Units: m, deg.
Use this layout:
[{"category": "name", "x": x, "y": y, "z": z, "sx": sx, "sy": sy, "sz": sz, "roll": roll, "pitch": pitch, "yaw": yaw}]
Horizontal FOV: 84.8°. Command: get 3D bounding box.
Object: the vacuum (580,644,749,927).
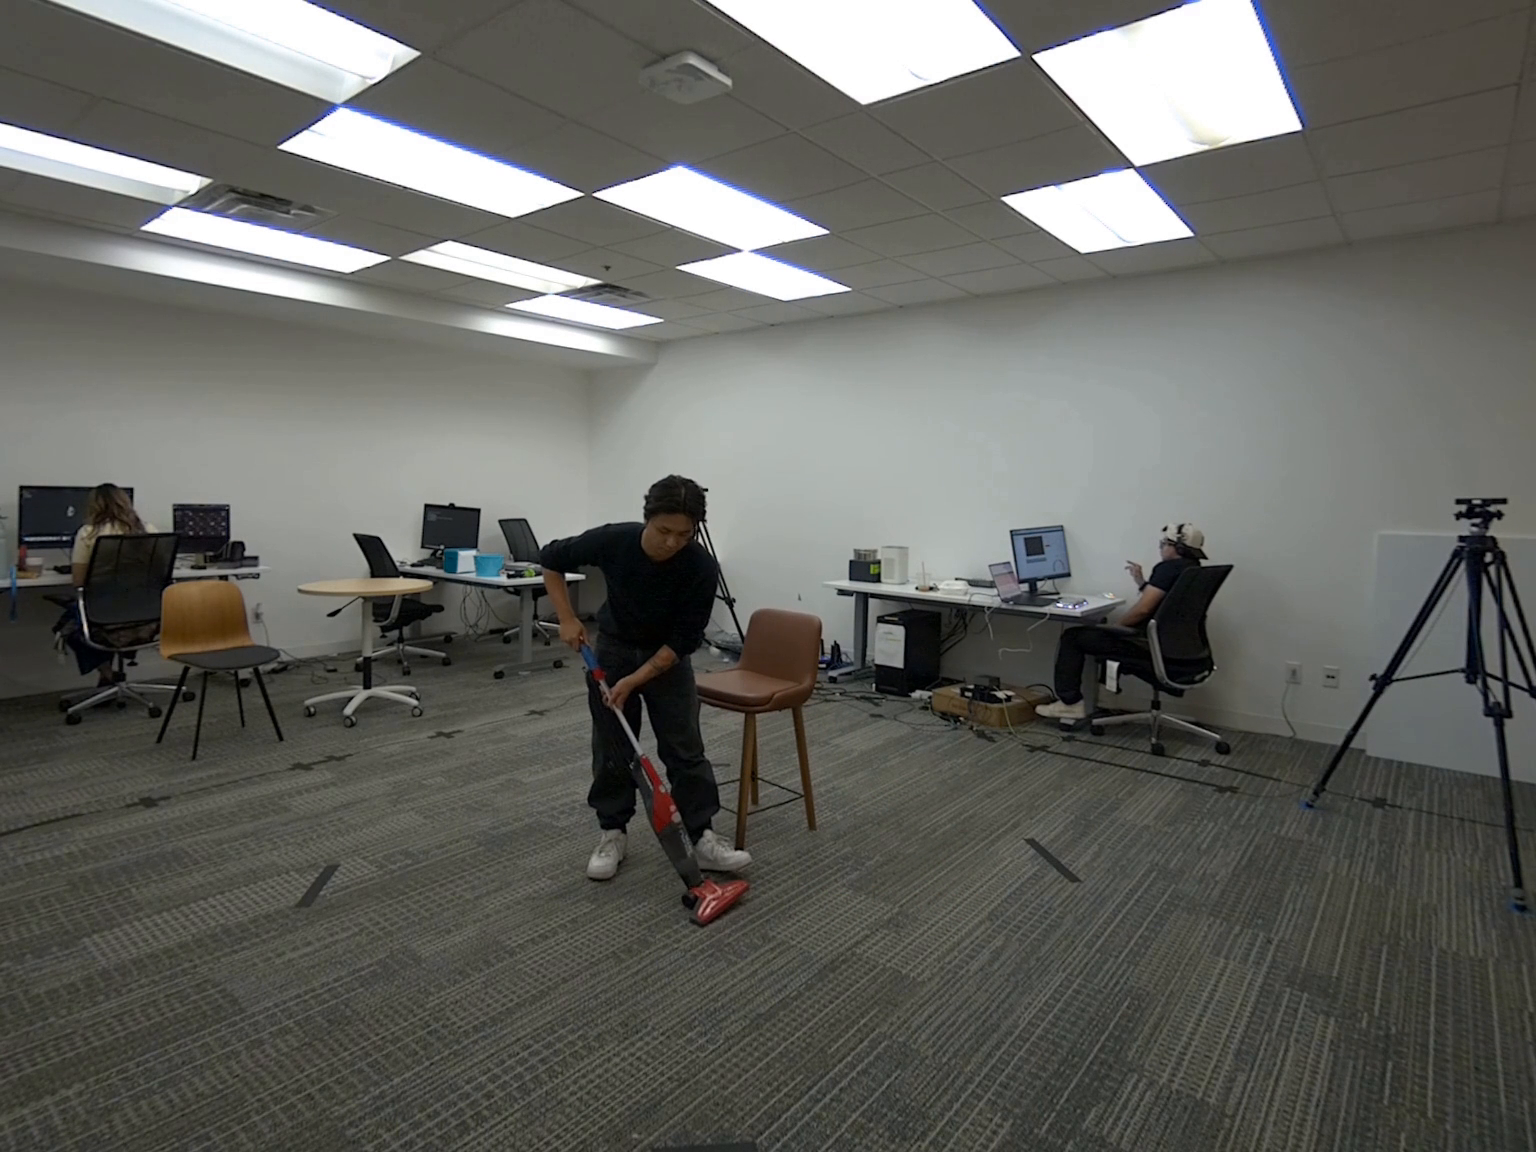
[{"category": "vacuum", "x": -0.454, "y": 0.651, "z": 2.943, "sx": 0.144, "sy": 1.070, "sz": 0.247, "roll": -43, "pitch": -17, "yaw": 35}]
